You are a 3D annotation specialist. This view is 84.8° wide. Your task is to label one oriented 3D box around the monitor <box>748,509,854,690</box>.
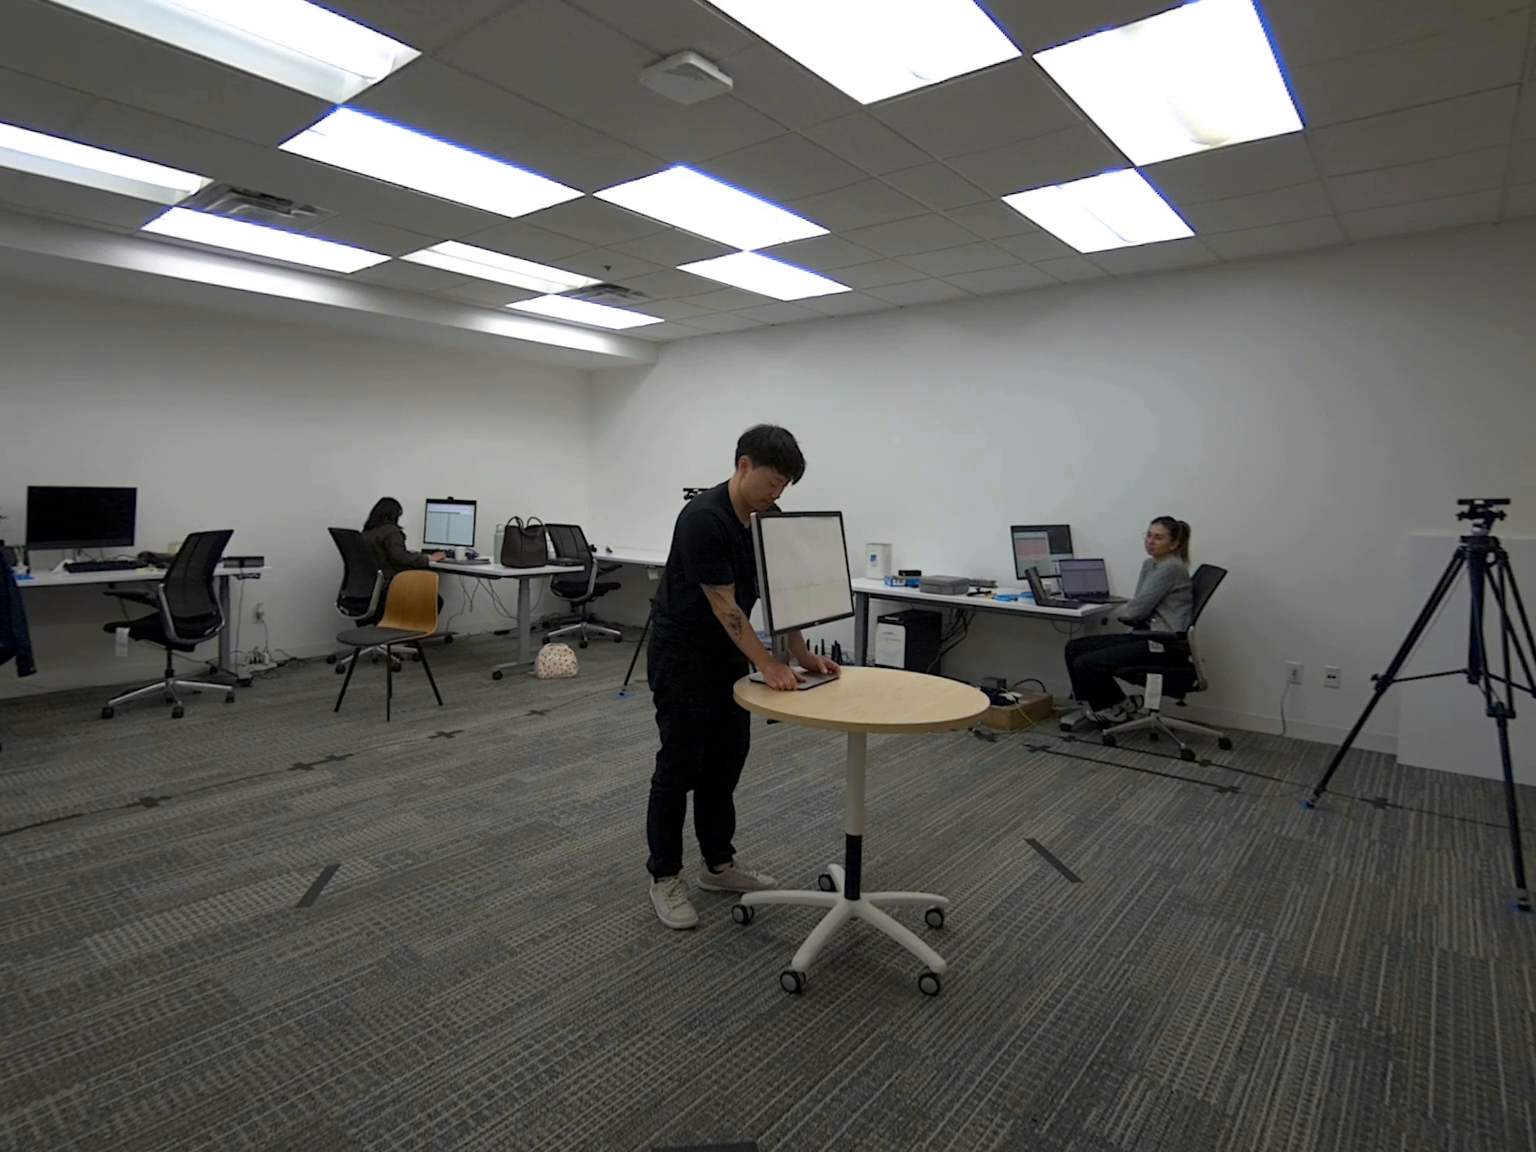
[{"bbox_3d":[0.087,0.065,2.714,0.193,0.520,0.525,4,6,32],"label":"monitor"}]
